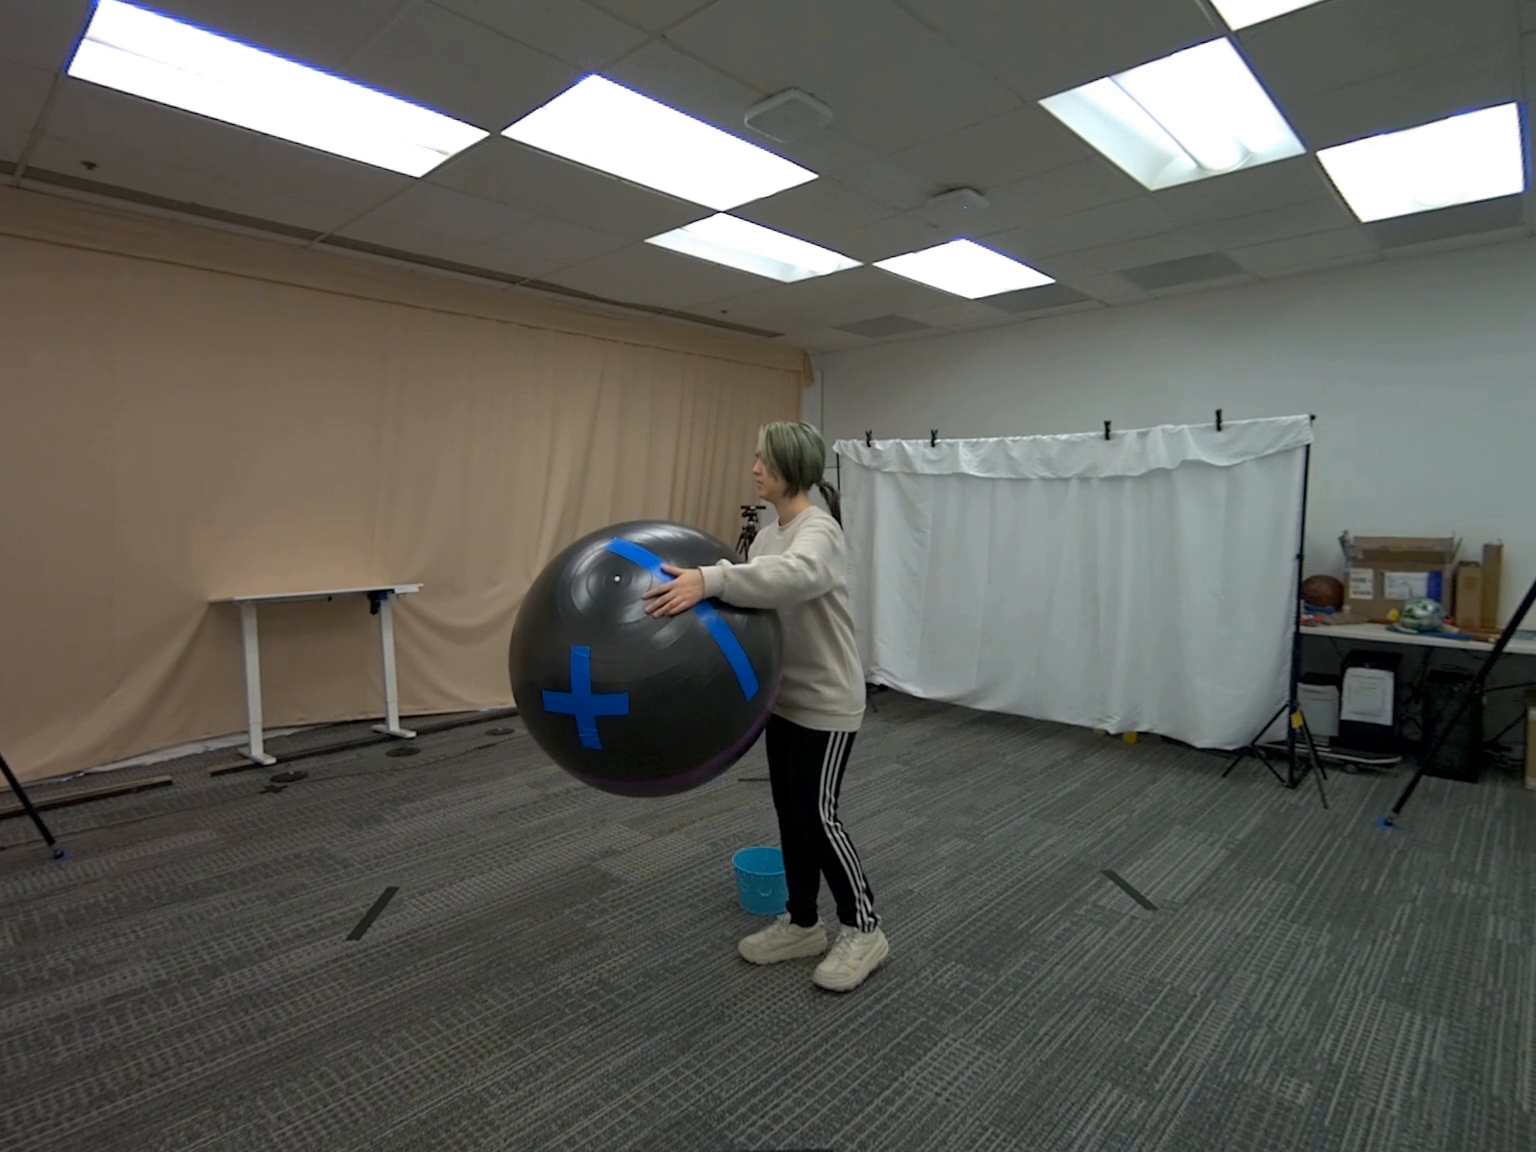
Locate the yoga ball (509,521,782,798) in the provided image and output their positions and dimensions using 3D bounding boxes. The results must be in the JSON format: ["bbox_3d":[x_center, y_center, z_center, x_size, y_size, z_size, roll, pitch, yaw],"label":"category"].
[{"bbox_3d":[-0.336,0.228,2.336,0.757,0.756,0.760,0,4,-2],"label":"yoga ball"}]
